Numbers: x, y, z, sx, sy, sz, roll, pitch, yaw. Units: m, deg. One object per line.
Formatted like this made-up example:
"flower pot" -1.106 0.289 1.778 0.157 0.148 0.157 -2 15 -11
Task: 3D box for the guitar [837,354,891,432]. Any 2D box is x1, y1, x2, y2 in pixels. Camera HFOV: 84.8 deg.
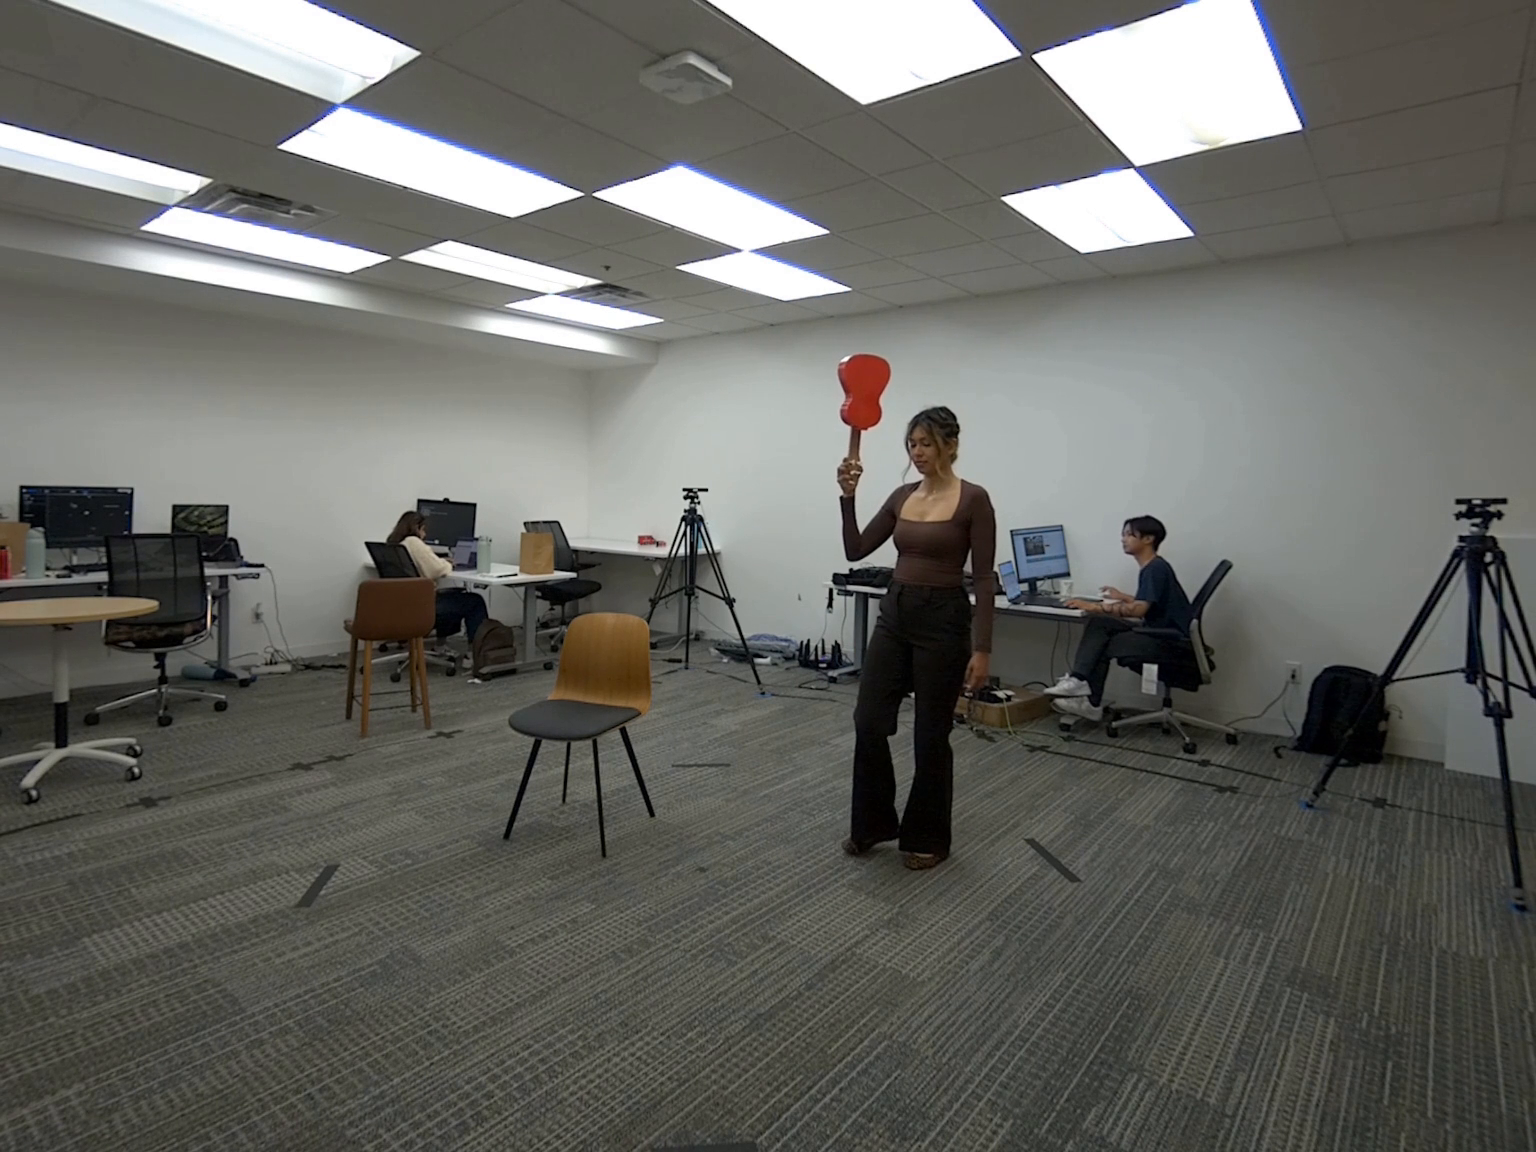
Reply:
"guitar" 0.360 -0.582 3.201 0.190 0.494 0.072 -6 7 -19
